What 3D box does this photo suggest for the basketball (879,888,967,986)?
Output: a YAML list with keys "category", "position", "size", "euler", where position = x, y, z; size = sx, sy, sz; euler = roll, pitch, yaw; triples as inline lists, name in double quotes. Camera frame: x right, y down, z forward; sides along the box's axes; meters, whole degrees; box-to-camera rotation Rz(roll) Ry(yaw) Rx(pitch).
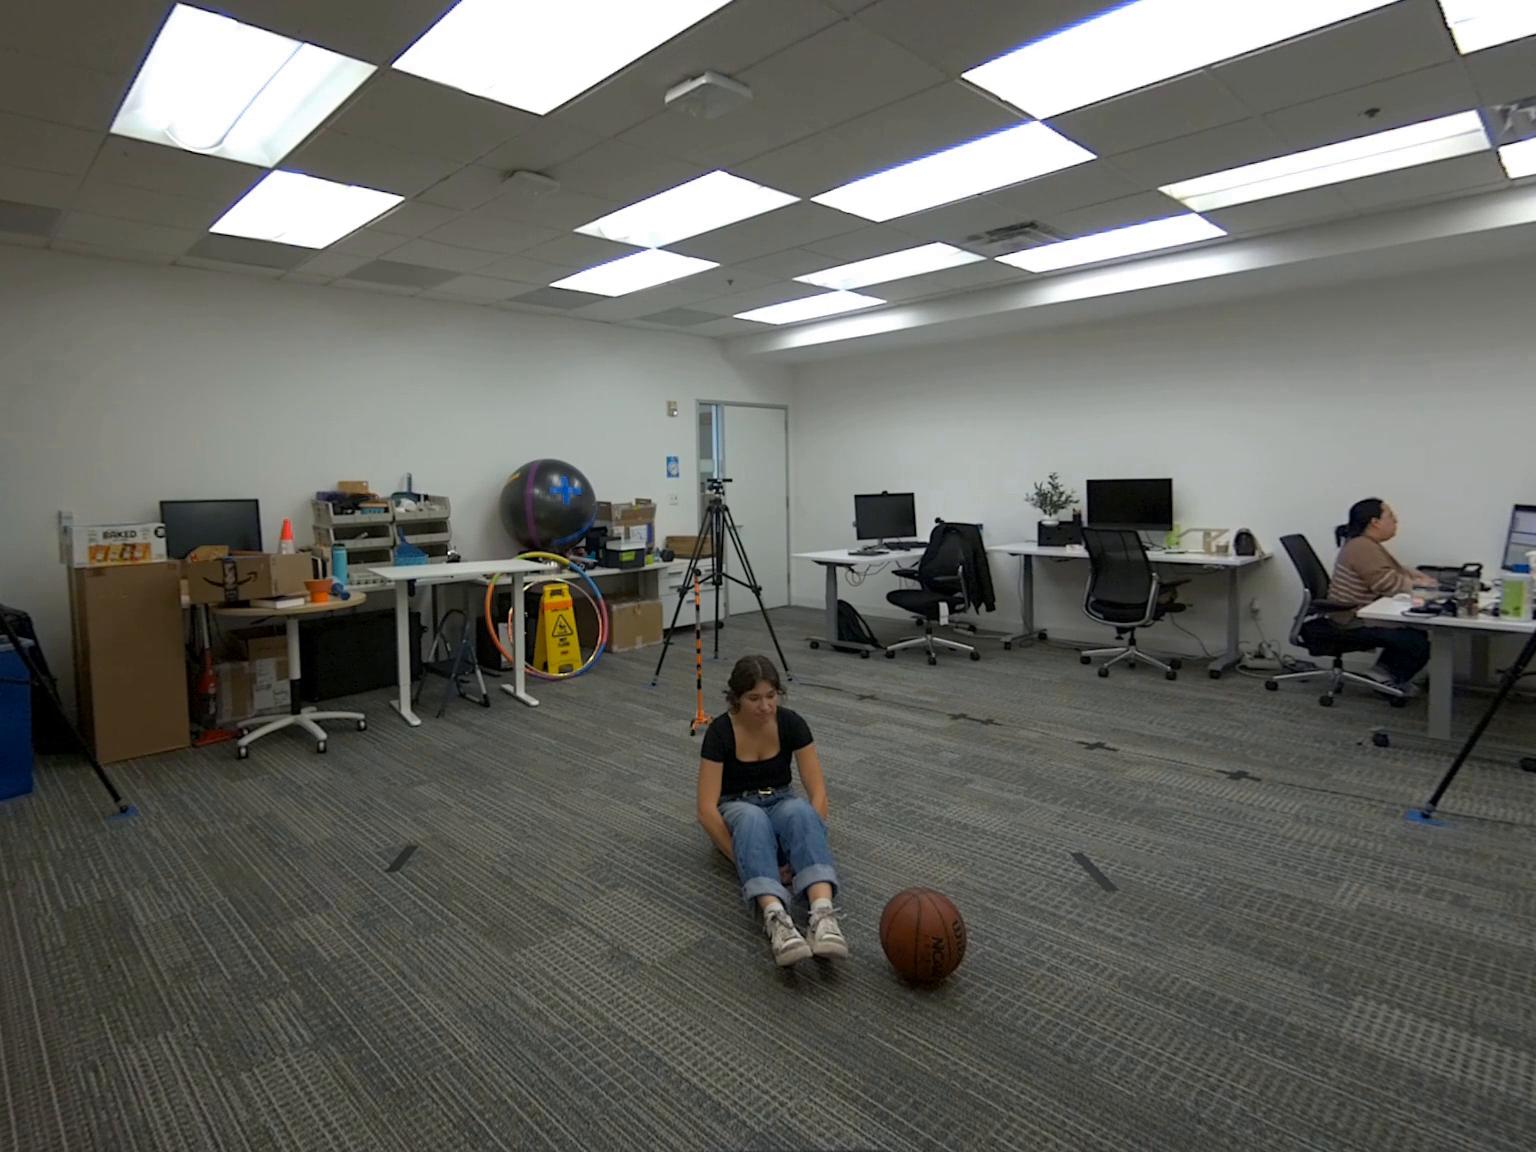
- category: "basketball"
  position: [0.439, 0.998, 2.387]
  size: [0.236, 0.235, 0.237]
  euler: [-1, 5, -2]
